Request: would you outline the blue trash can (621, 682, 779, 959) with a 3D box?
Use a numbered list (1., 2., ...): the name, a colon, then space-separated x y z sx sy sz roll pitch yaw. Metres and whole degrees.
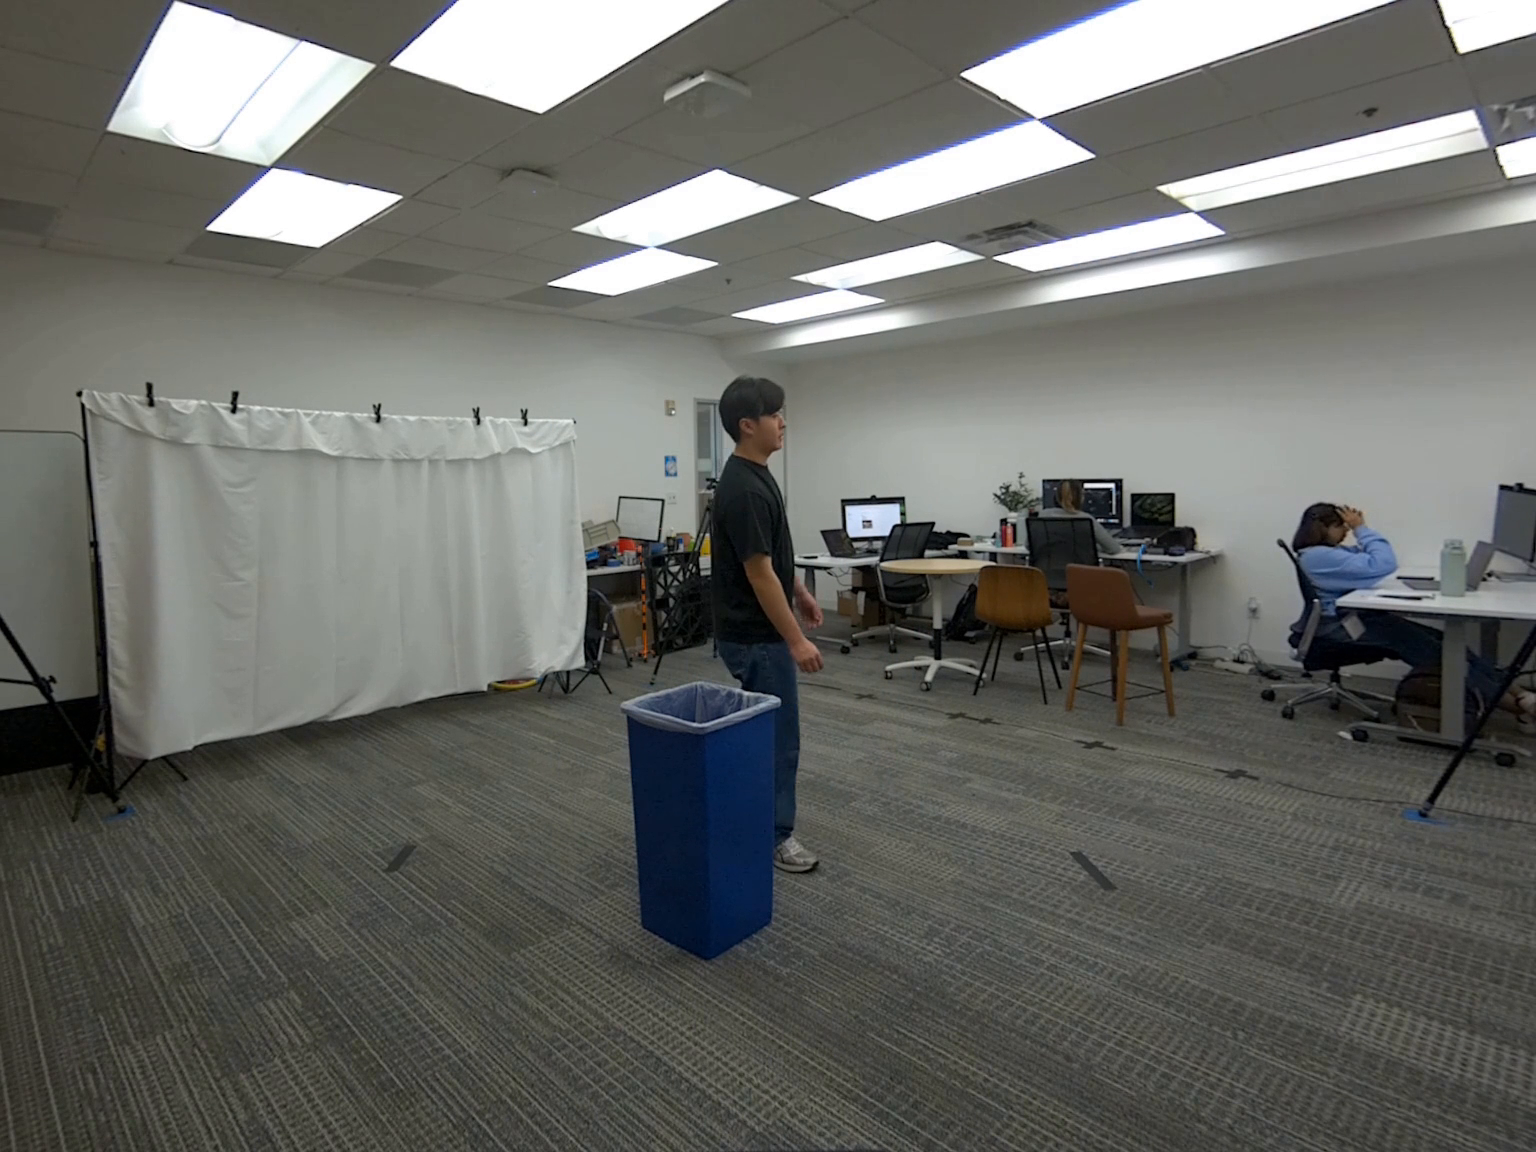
1. blue trash can: -0.199 0.741 2.657 0.389 0.711 0.364 2 5 41
